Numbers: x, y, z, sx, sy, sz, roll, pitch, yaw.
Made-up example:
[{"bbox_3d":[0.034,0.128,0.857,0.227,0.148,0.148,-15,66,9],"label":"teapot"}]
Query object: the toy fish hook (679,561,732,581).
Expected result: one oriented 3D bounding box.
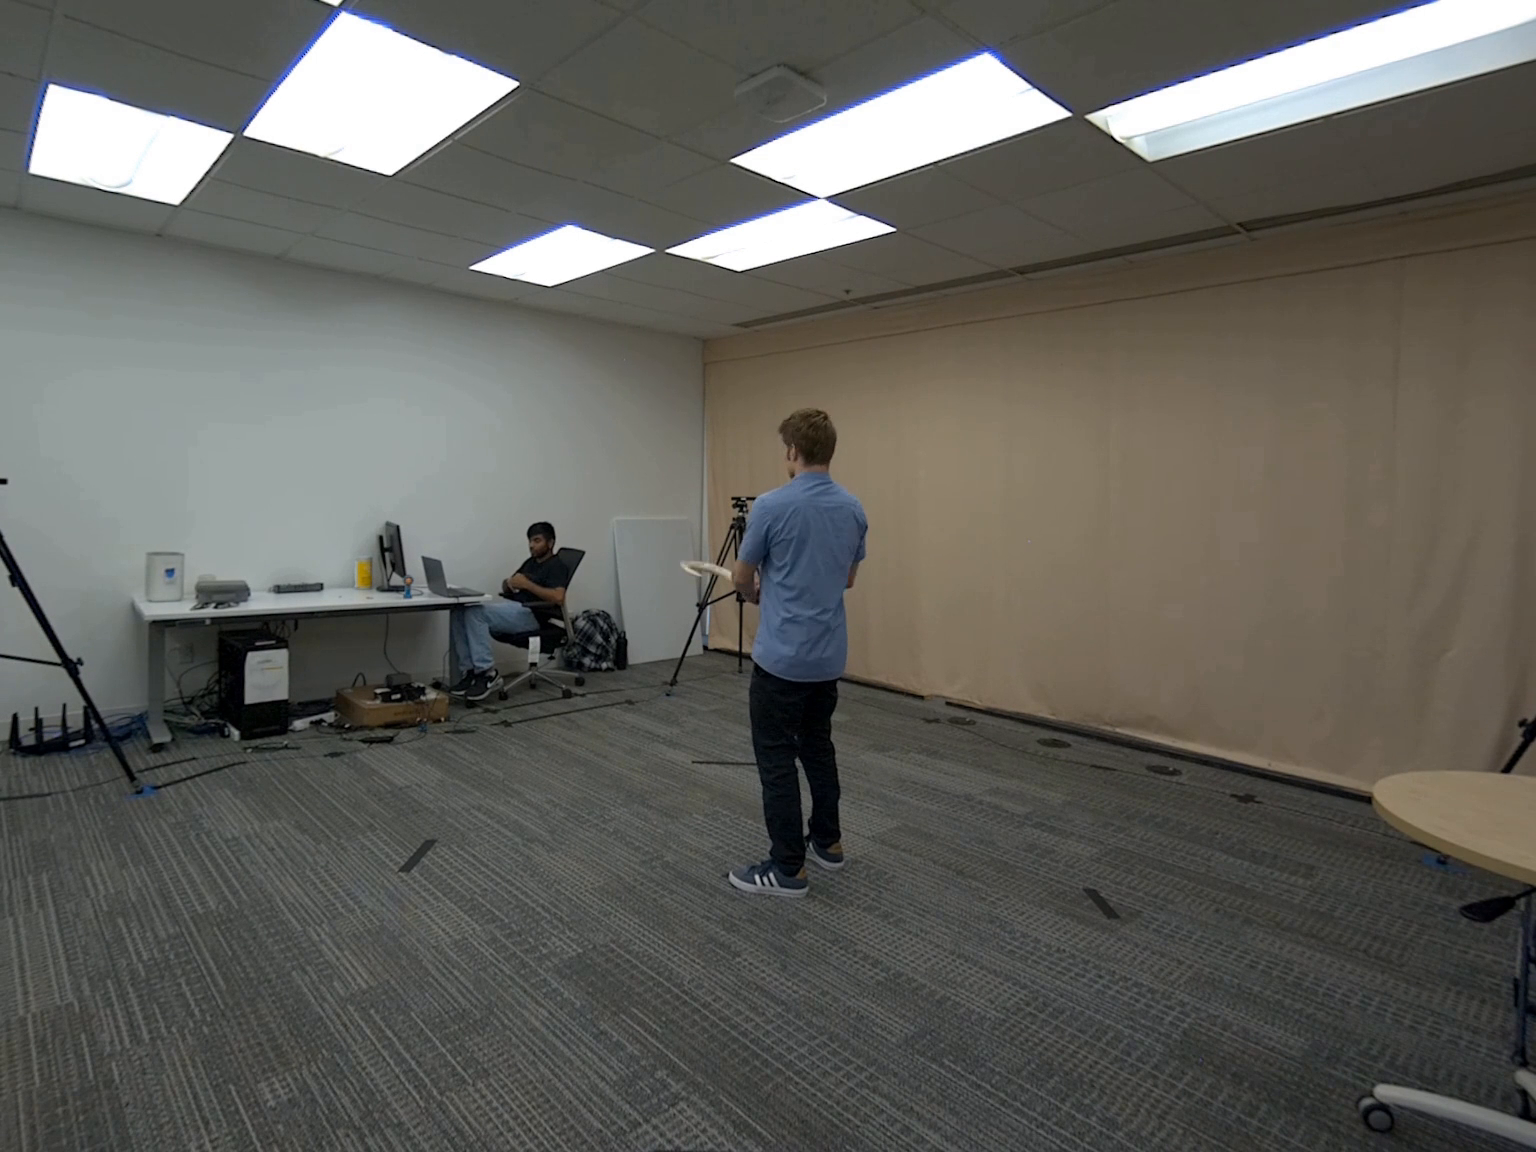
[{"bbox_3d":[-0.156,0.025,3.440,0.219,0.048,0.522,-2,16,-42],"label":"toy fish hook"}]
